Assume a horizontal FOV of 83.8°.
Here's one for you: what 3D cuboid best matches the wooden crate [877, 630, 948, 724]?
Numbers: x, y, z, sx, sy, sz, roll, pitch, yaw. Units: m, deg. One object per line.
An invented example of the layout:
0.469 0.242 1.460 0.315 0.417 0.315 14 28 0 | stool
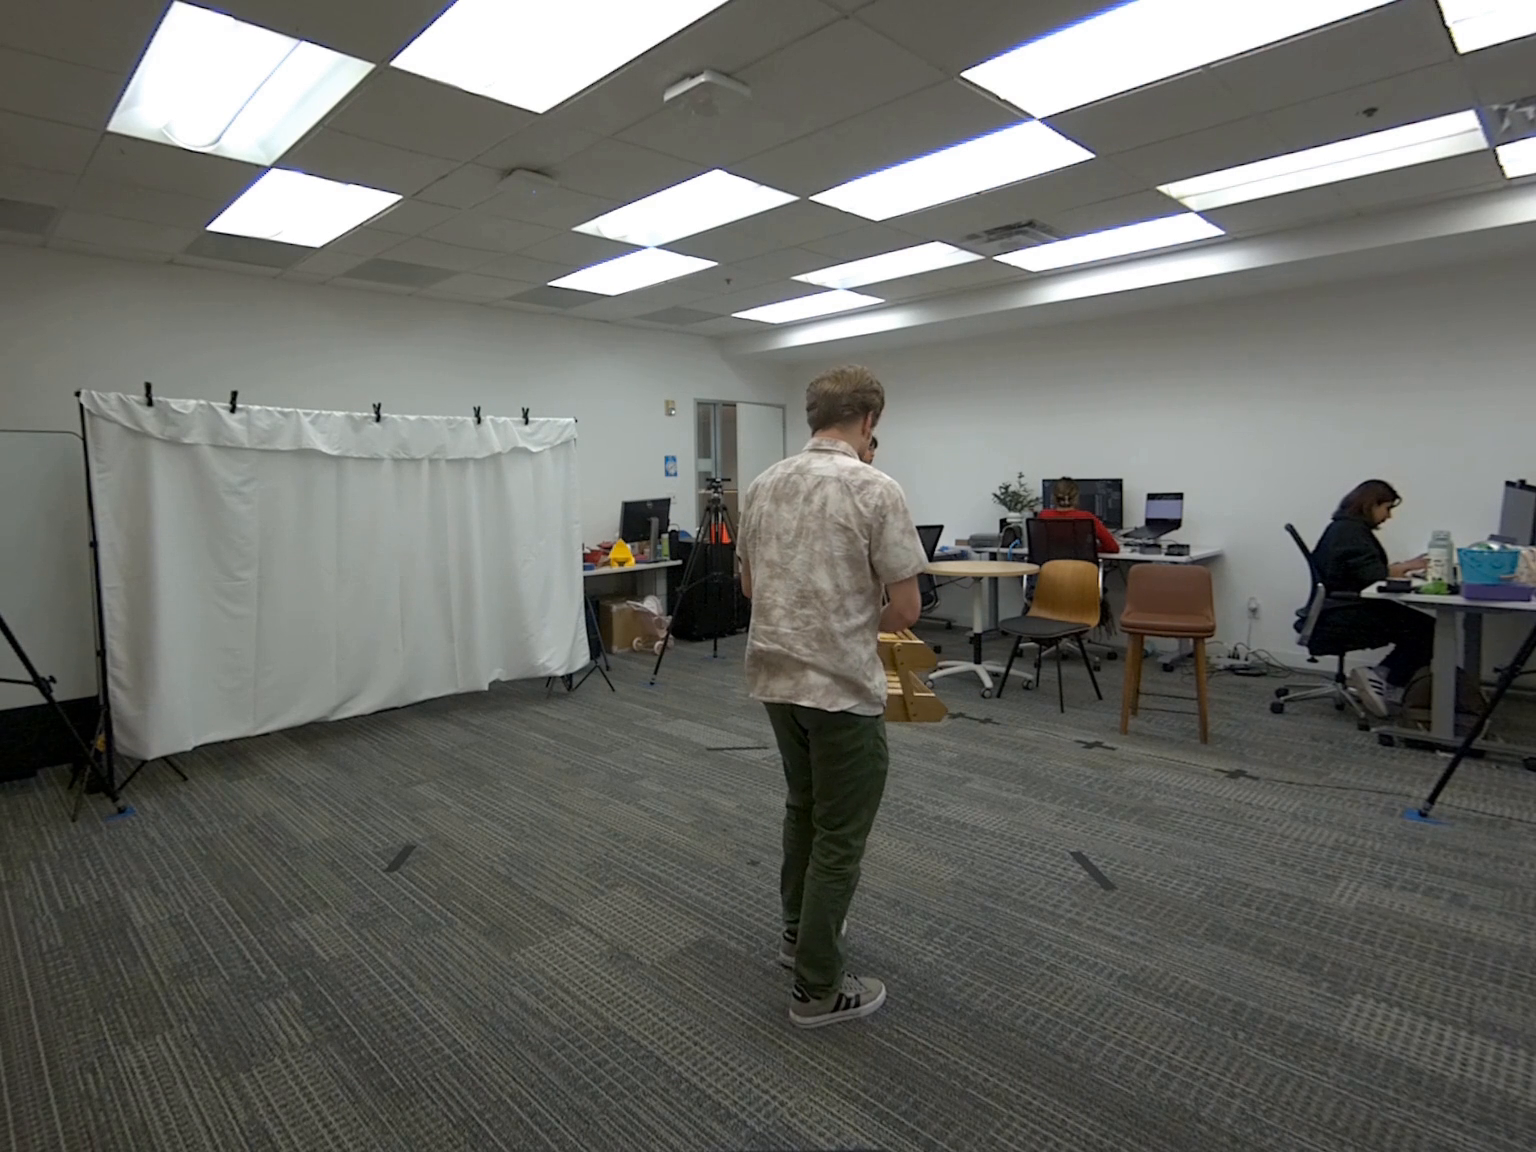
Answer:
0.384 0.257 2.621 0.296 0.270 0.335 4 19 -21 | wooden crate
